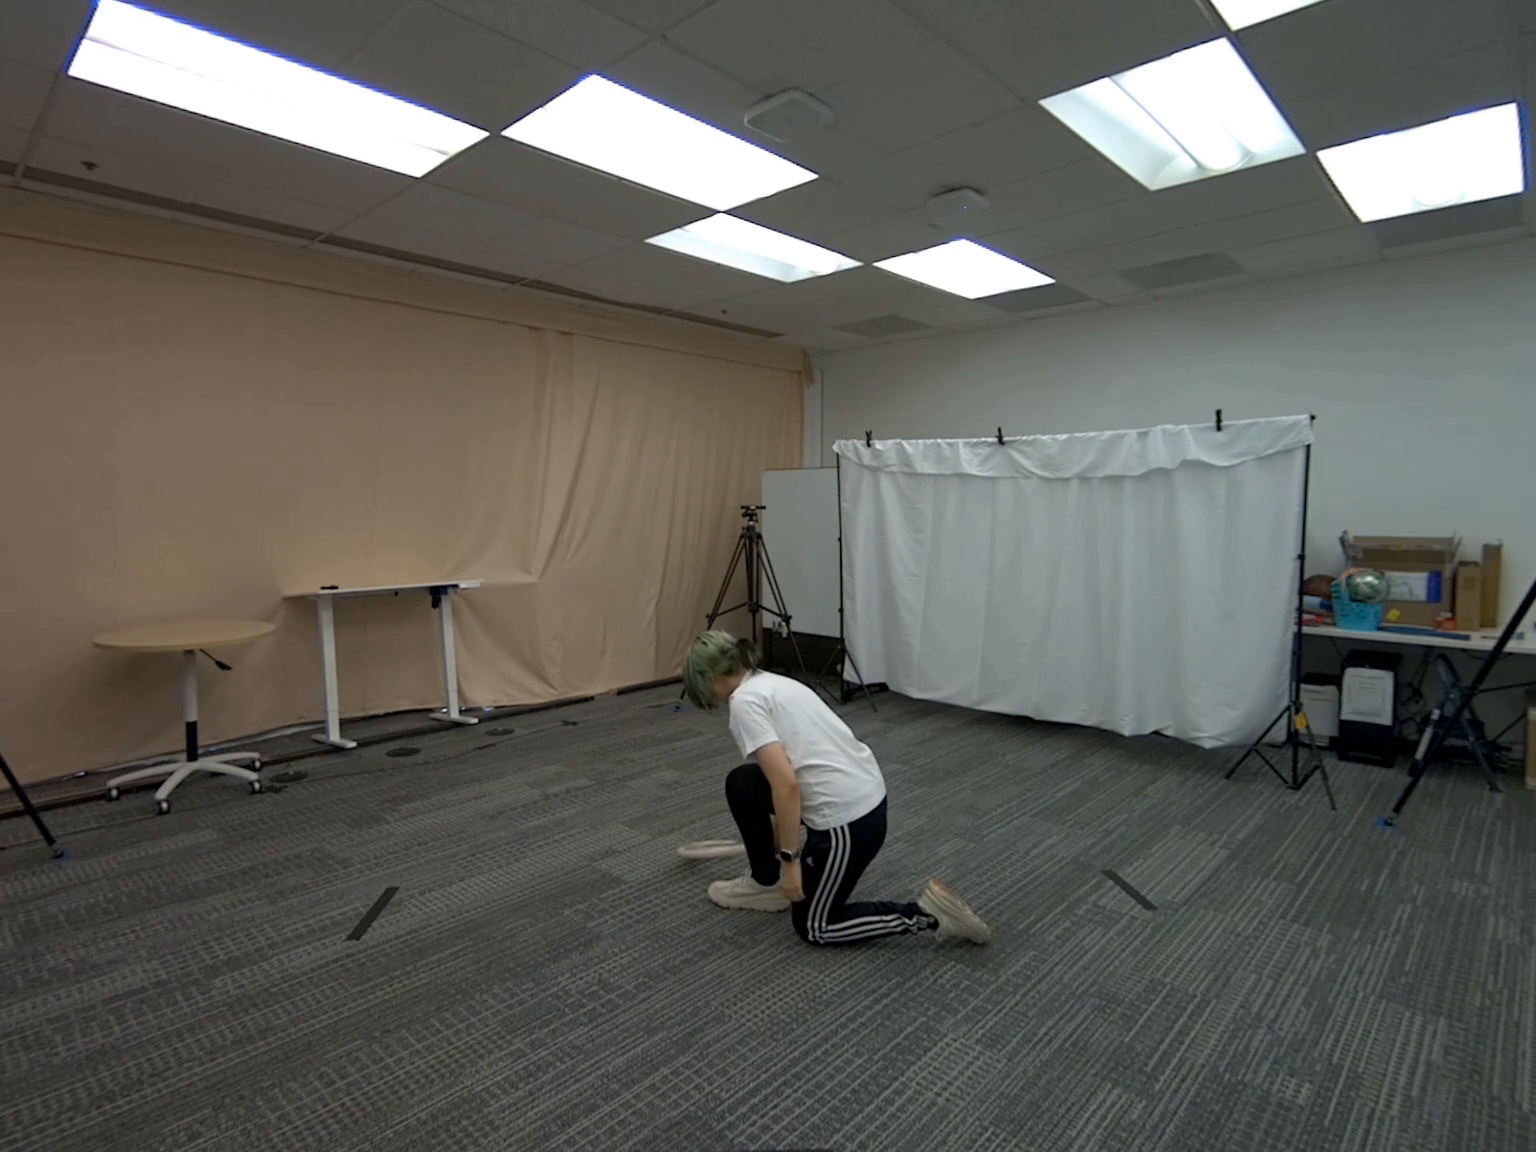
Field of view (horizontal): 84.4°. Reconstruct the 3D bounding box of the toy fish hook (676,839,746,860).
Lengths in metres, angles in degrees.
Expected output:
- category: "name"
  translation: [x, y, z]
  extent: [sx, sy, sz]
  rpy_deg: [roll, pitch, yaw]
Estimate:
- category: "toy fish hook"
  translation: [-0.109, 1.026, 3.201]
  extent: [0.516, 0.048, 0.220]
  rpy_deg: [-7, -3, 18]
